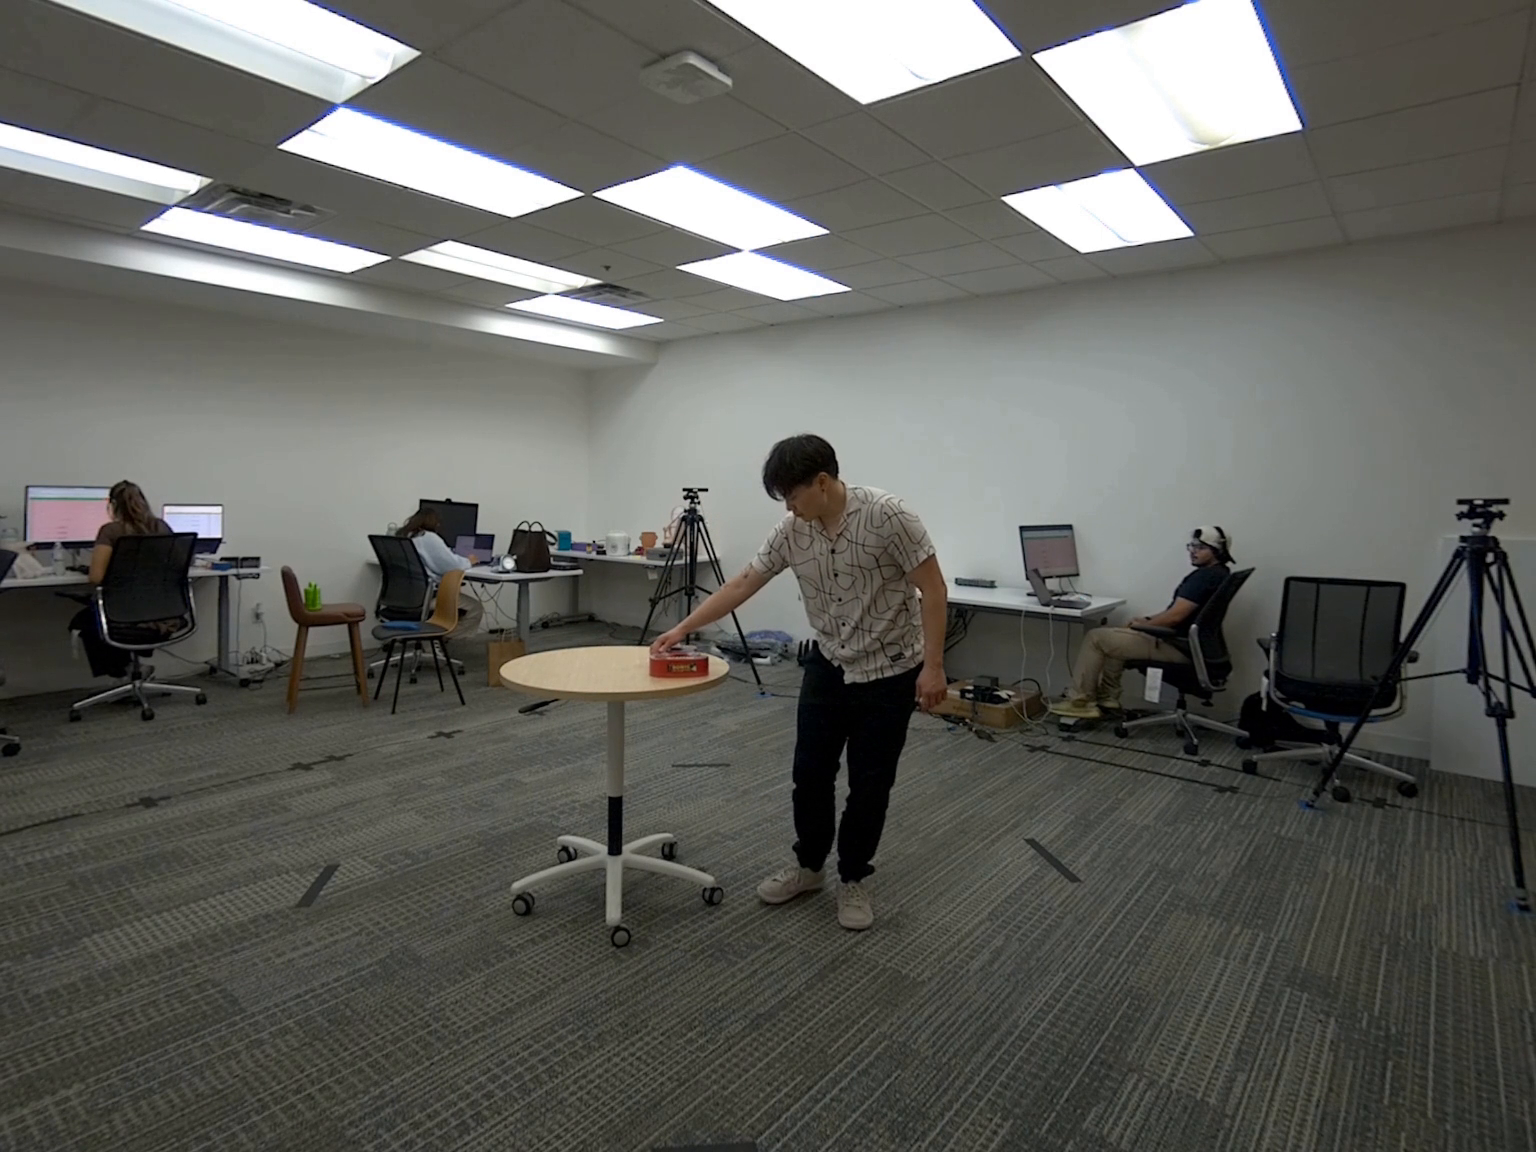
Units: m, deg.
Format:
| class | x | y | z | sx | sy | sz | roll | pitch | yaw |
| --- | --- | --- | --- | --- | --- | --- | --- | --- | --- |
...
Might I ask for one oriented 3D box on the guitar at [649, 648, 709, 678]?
| class | x | y | z | sx | sy | sz | roll | pitch | yaw |
| --- | --- | --- | --- | --- | --- | --- | --- | --- | --- |
| guitar | -0.307 | 0.265 | 2.944 | 0.193 | 0.070 | 0.501 | -1 | 6 | -3 |
